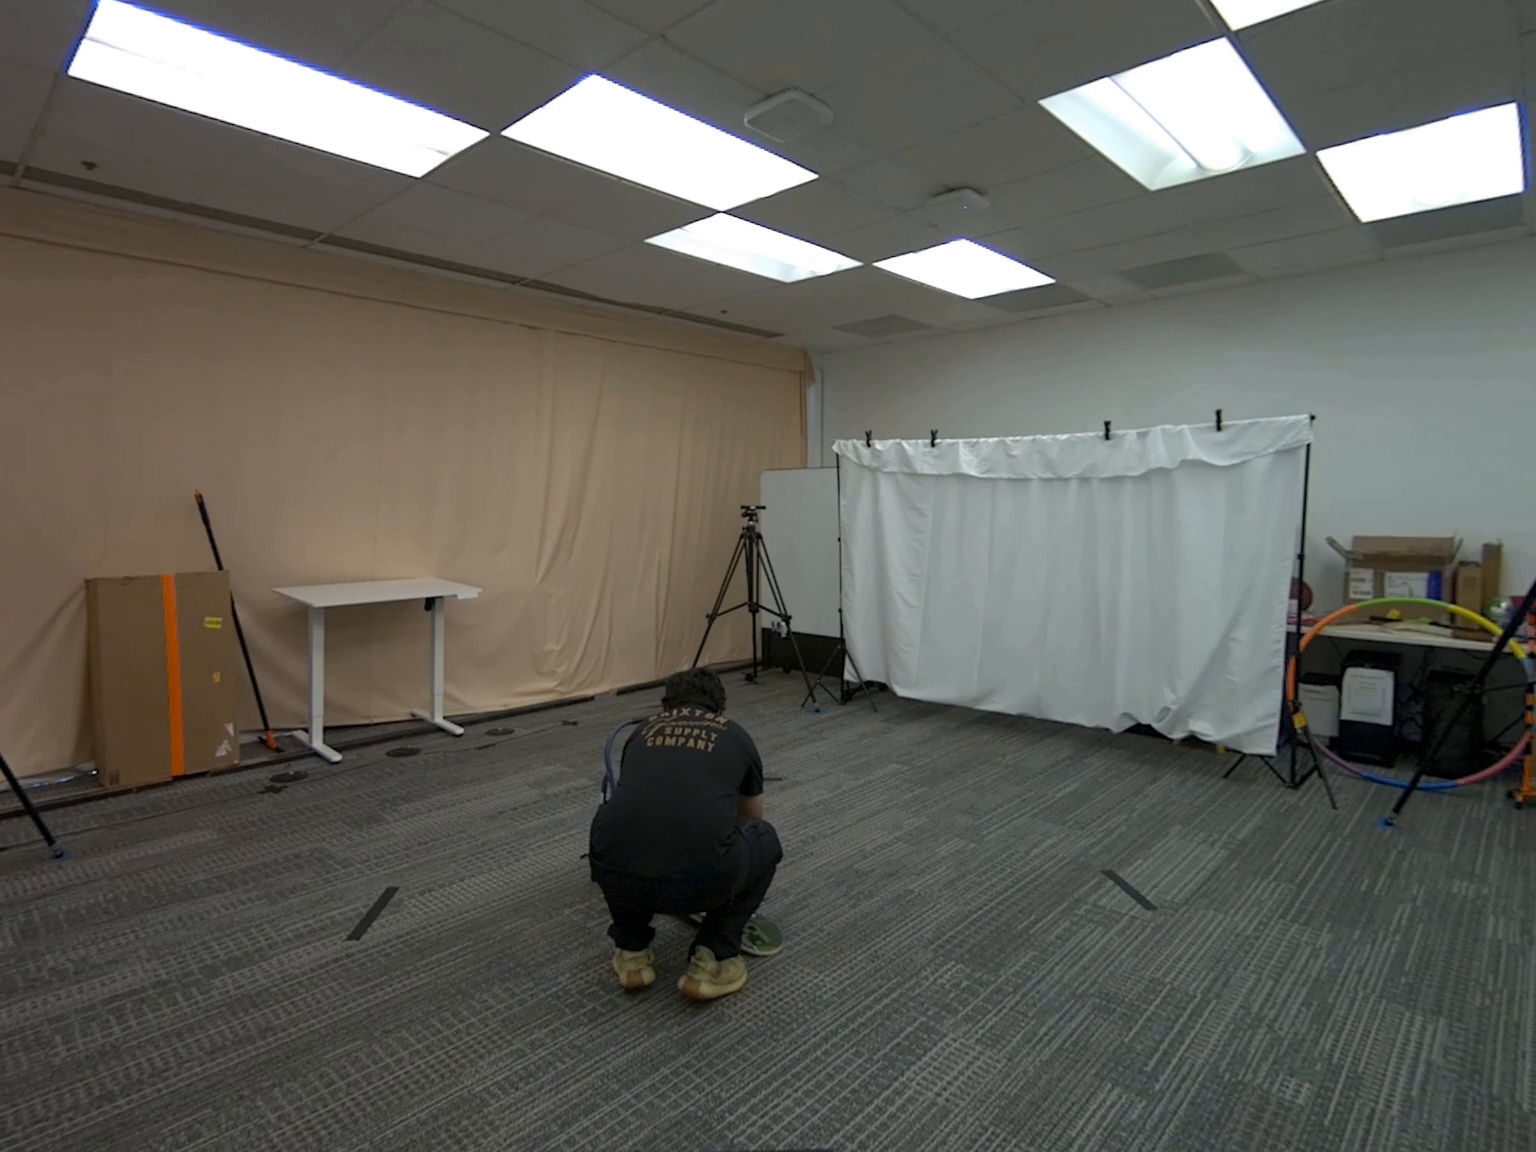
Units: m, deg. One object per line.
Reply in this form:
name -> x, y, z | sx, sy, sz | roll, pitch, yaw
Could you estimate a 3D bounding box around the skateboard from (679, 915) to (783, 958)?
skateboard -> -0.235, 1.096, 2.912 | 0.187, 0.110, 0.811 | 3, 2, -39
